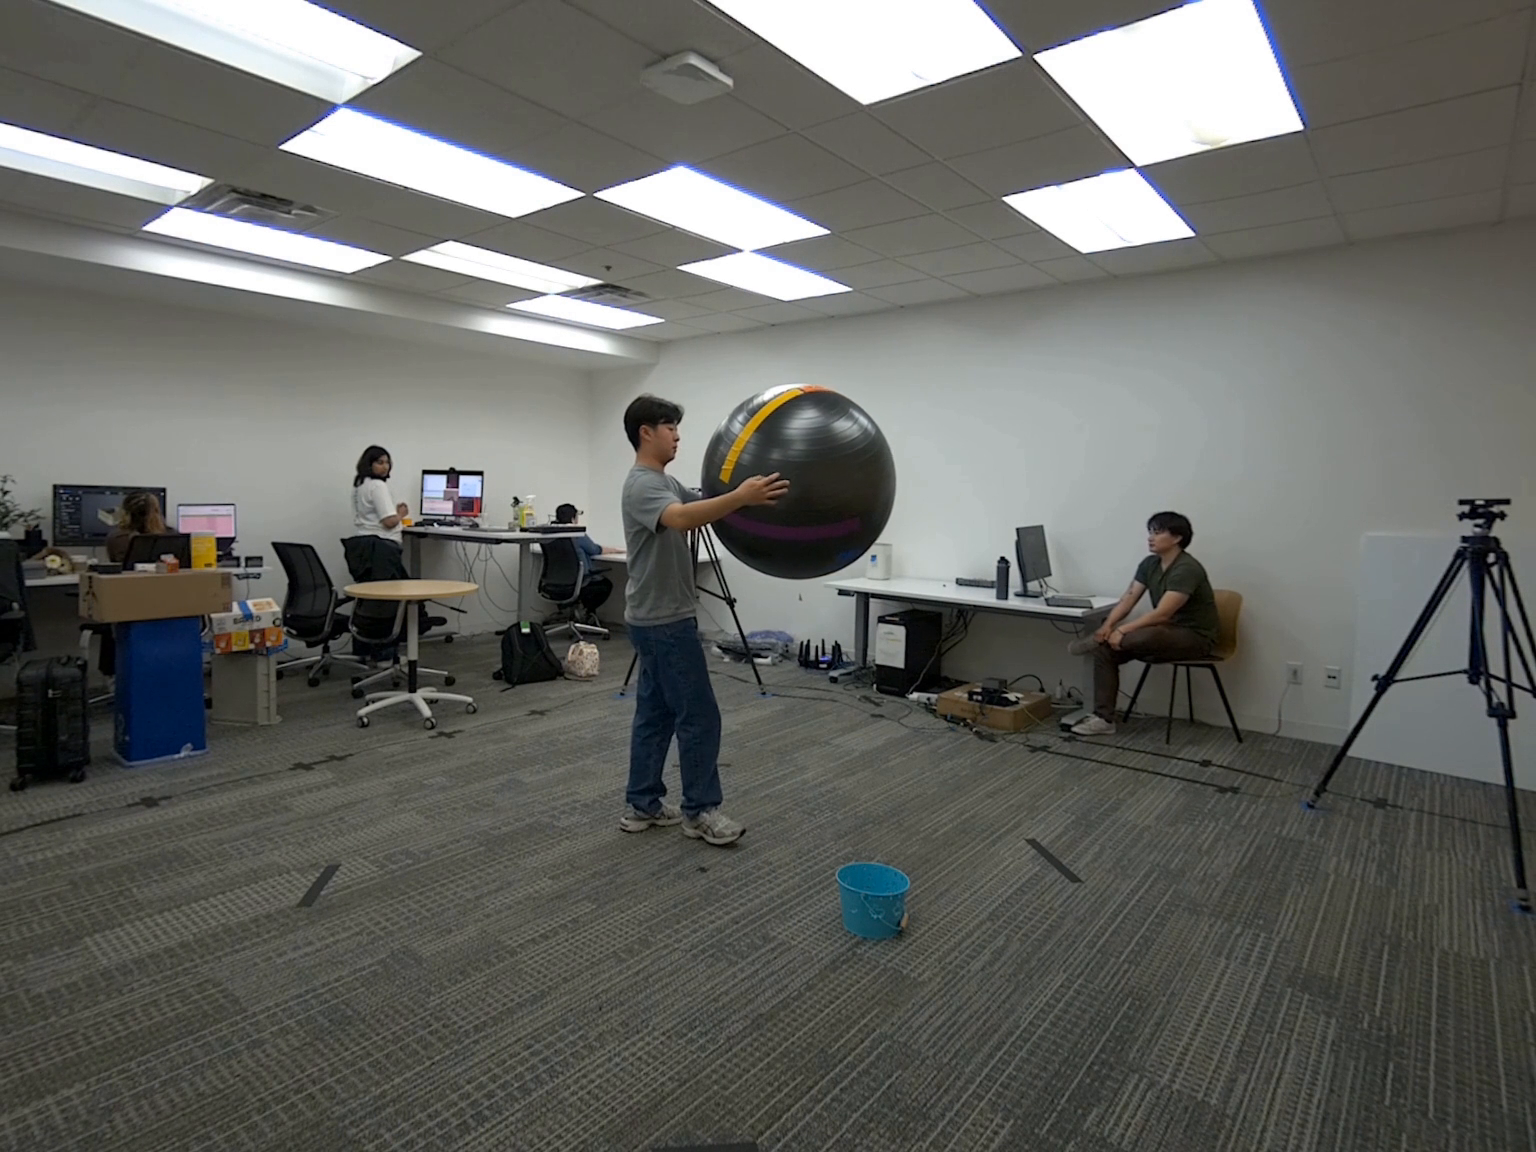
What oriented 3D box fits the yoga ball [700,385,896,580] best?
[{"bbox_3d":[0.106,-0.357,3.326,0.757,0.756,0.761,1,4,-2],"label":"yoga ball"}]
